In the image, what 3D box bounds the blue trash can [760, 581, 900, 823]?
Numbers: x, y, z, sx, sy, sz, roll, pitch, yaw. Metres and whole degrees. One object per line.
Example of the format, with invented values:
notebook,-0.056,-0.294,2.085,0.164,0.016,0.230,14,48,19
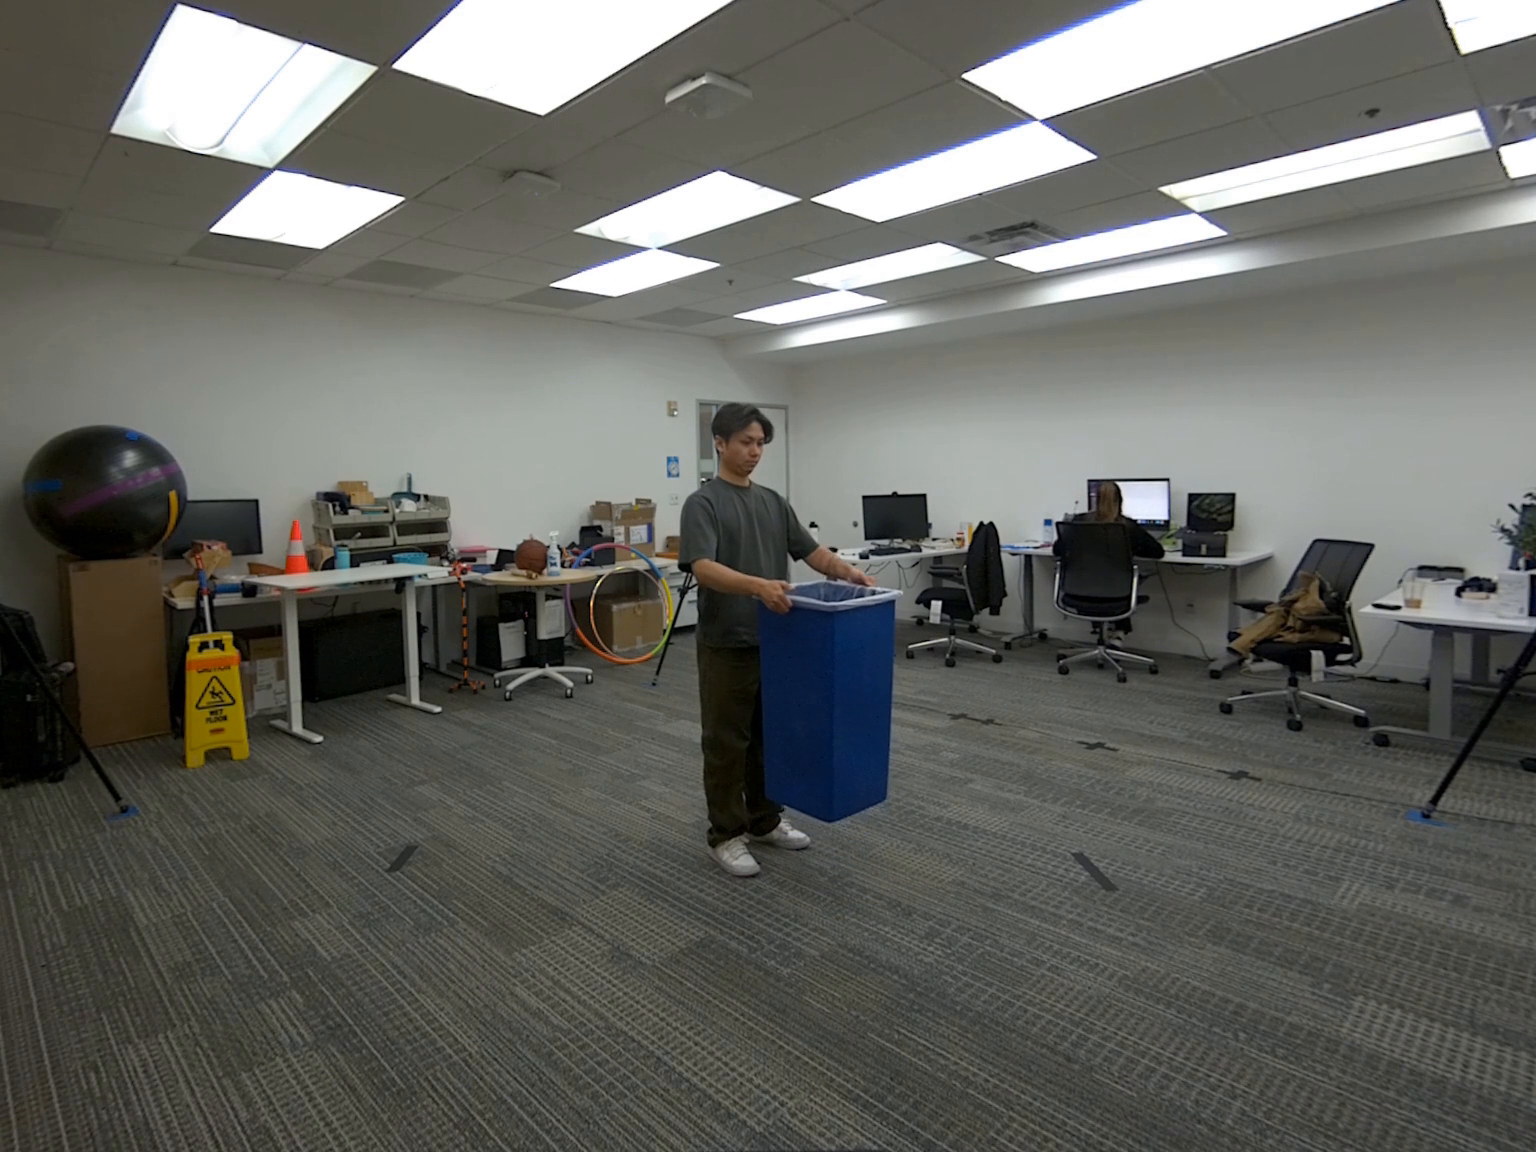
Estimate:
blue trash can,0.210,0.408,2.871,0.368,0.710,0.386,-6,8,-44
